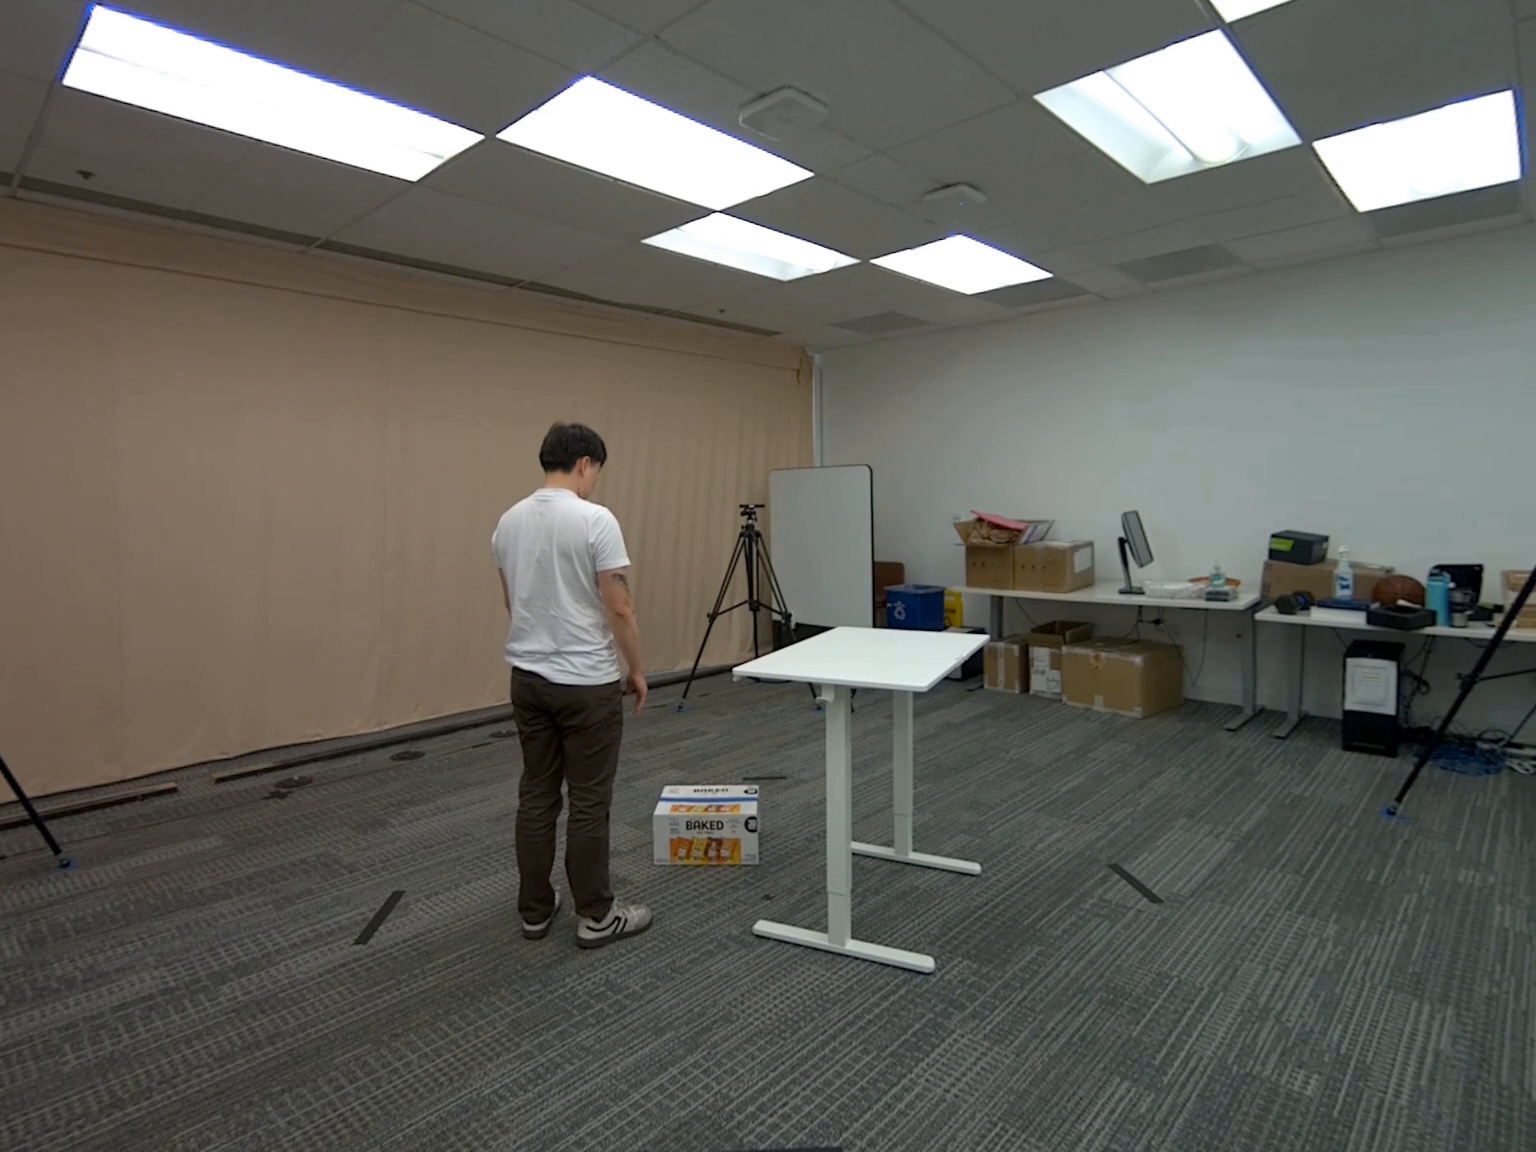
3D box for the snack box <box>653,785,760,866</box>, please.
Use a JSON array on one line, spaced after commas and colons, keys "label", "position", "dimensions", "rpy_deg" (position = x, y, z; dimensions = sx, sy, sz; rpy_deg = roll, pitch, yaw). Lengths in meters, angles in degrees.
[{"label": "snack box", "position": [-0.238, 1.003, 3.417], "dimensions": [0.406, 0.205, 0.340], "rpy_deg": [-1, 5, 2]}]
